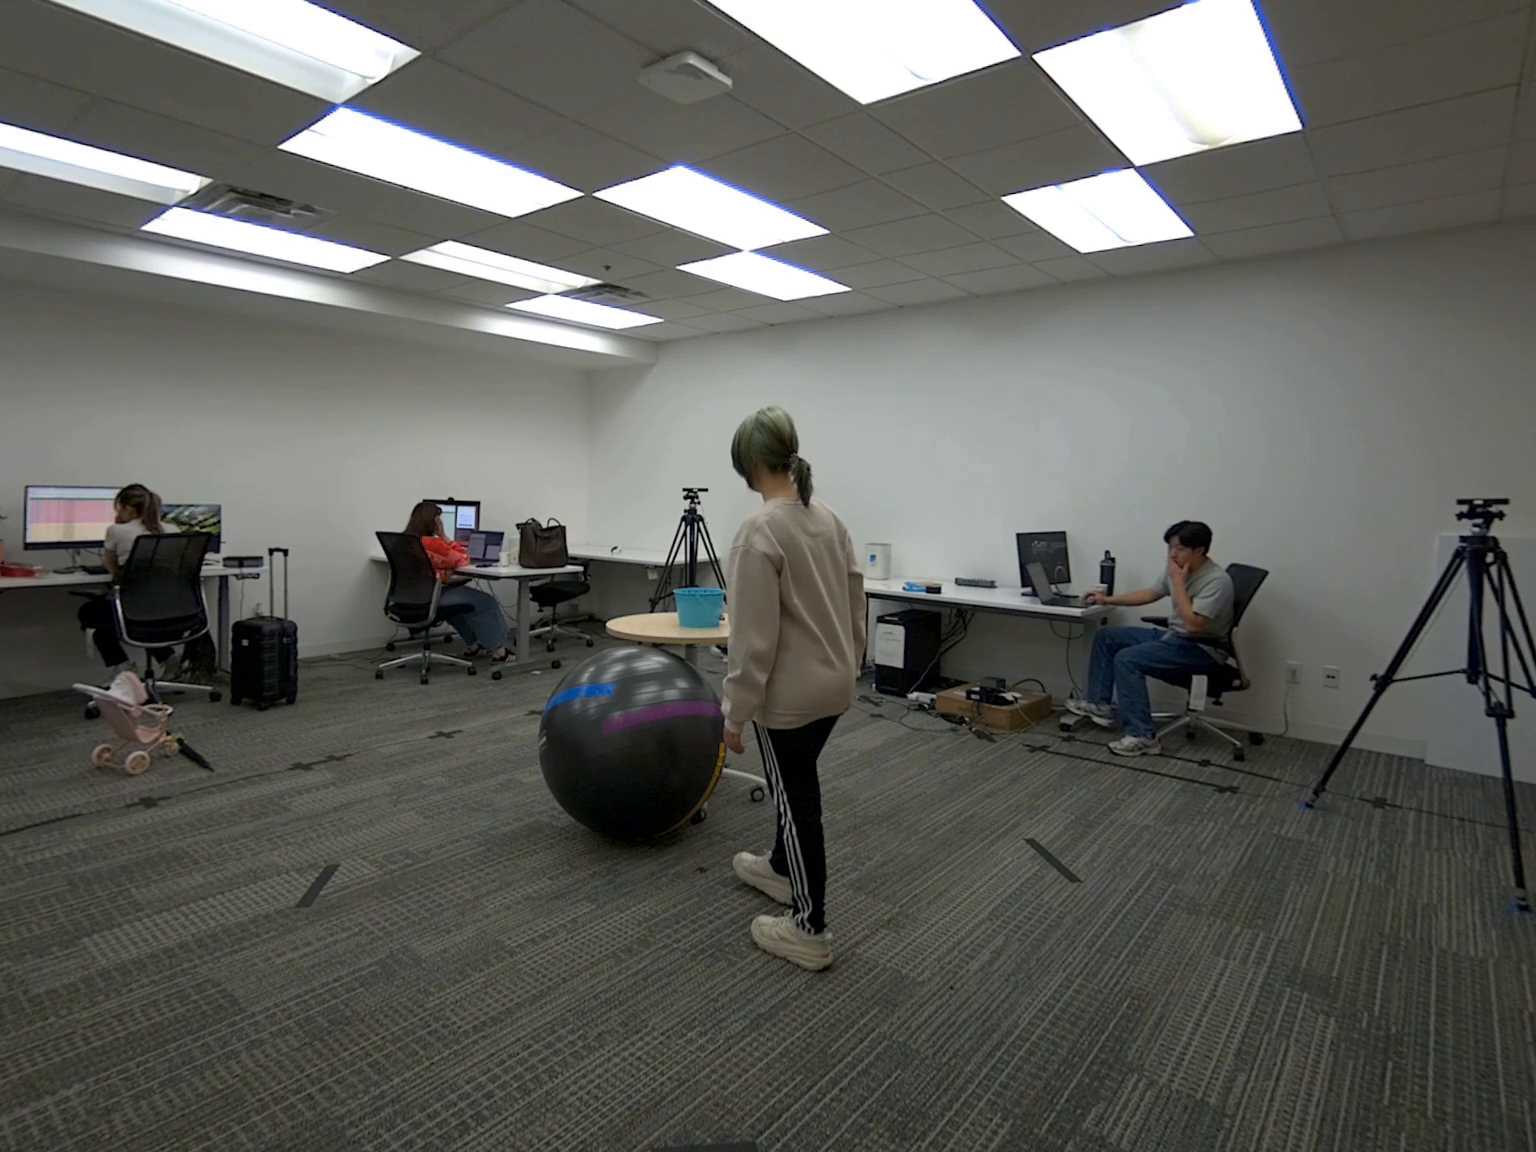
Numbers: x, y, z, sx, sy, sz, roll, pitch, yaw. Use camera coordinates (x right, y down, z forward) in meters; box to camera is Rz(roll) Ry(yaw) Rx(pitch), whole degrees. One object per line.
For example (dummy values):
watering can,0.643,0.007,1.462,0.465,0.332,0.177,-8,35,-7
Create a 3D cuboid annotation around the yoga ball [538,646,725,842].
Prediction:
yoga ball,-0.565,0.668,3.450,0.757,0.756,0.762,1,4,-2
